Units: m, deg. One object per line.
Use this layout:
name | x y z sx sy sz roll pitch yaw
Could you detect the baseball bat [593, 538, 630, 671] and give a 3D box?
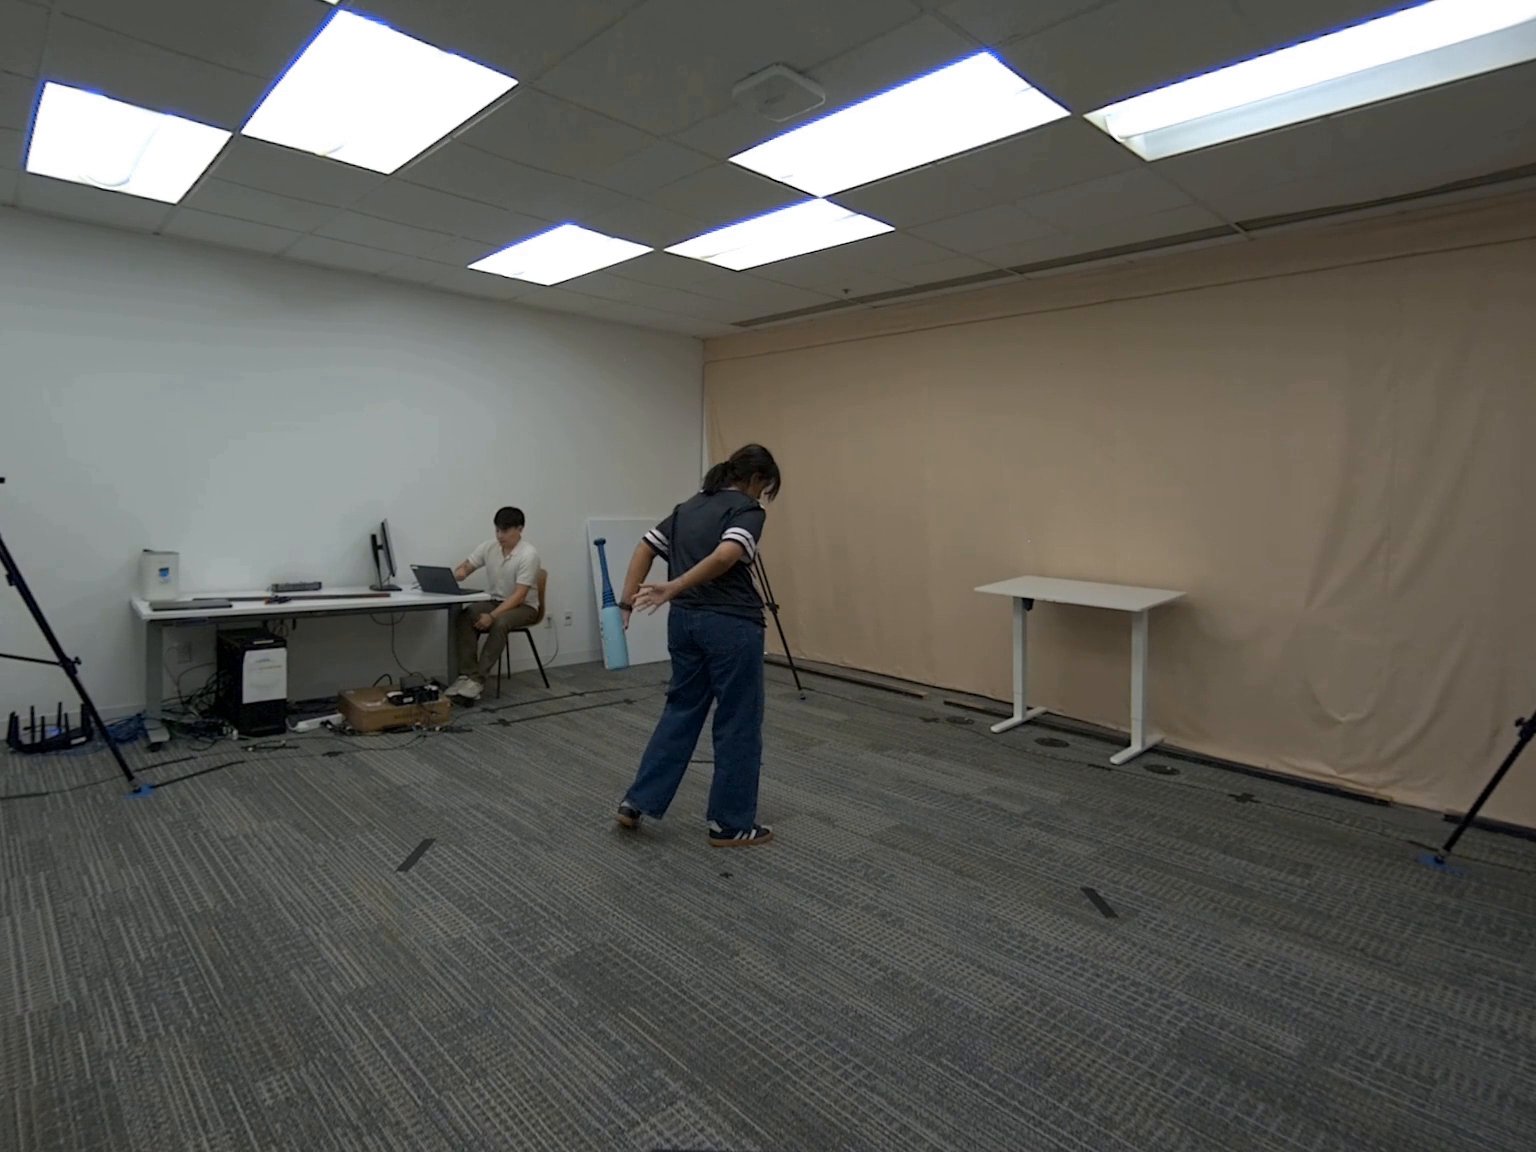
baseball bat | -0.625 0.114 3.393 0.089 0.549 0.088 -9 -13 -3
